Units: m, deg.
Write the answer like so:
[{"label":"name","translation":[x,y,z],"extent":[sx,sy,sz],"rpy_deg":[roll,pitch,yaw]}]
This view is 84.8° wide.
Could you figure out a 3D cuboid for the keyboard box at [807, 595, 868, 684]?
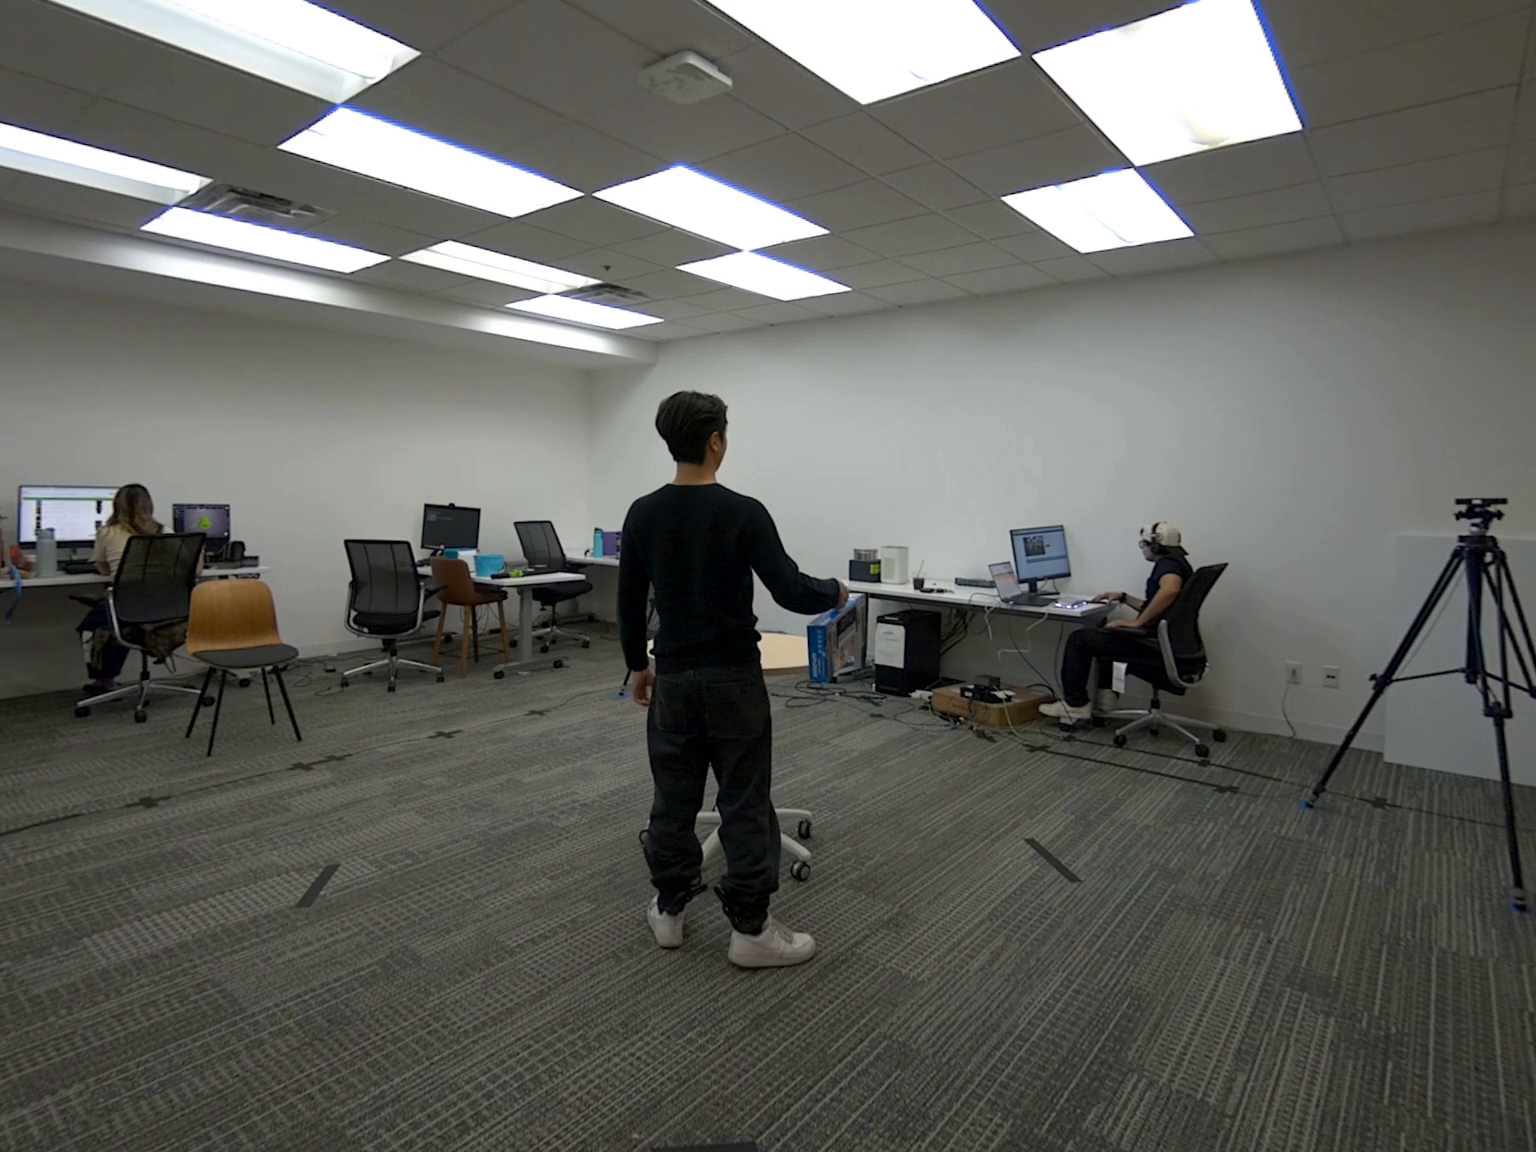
[{"label":"keyboard box","translation":[0.217,0.189,2.714],"extent":[0.060,0.174,0.431],"rpy_deg":[0,12,22]}]
